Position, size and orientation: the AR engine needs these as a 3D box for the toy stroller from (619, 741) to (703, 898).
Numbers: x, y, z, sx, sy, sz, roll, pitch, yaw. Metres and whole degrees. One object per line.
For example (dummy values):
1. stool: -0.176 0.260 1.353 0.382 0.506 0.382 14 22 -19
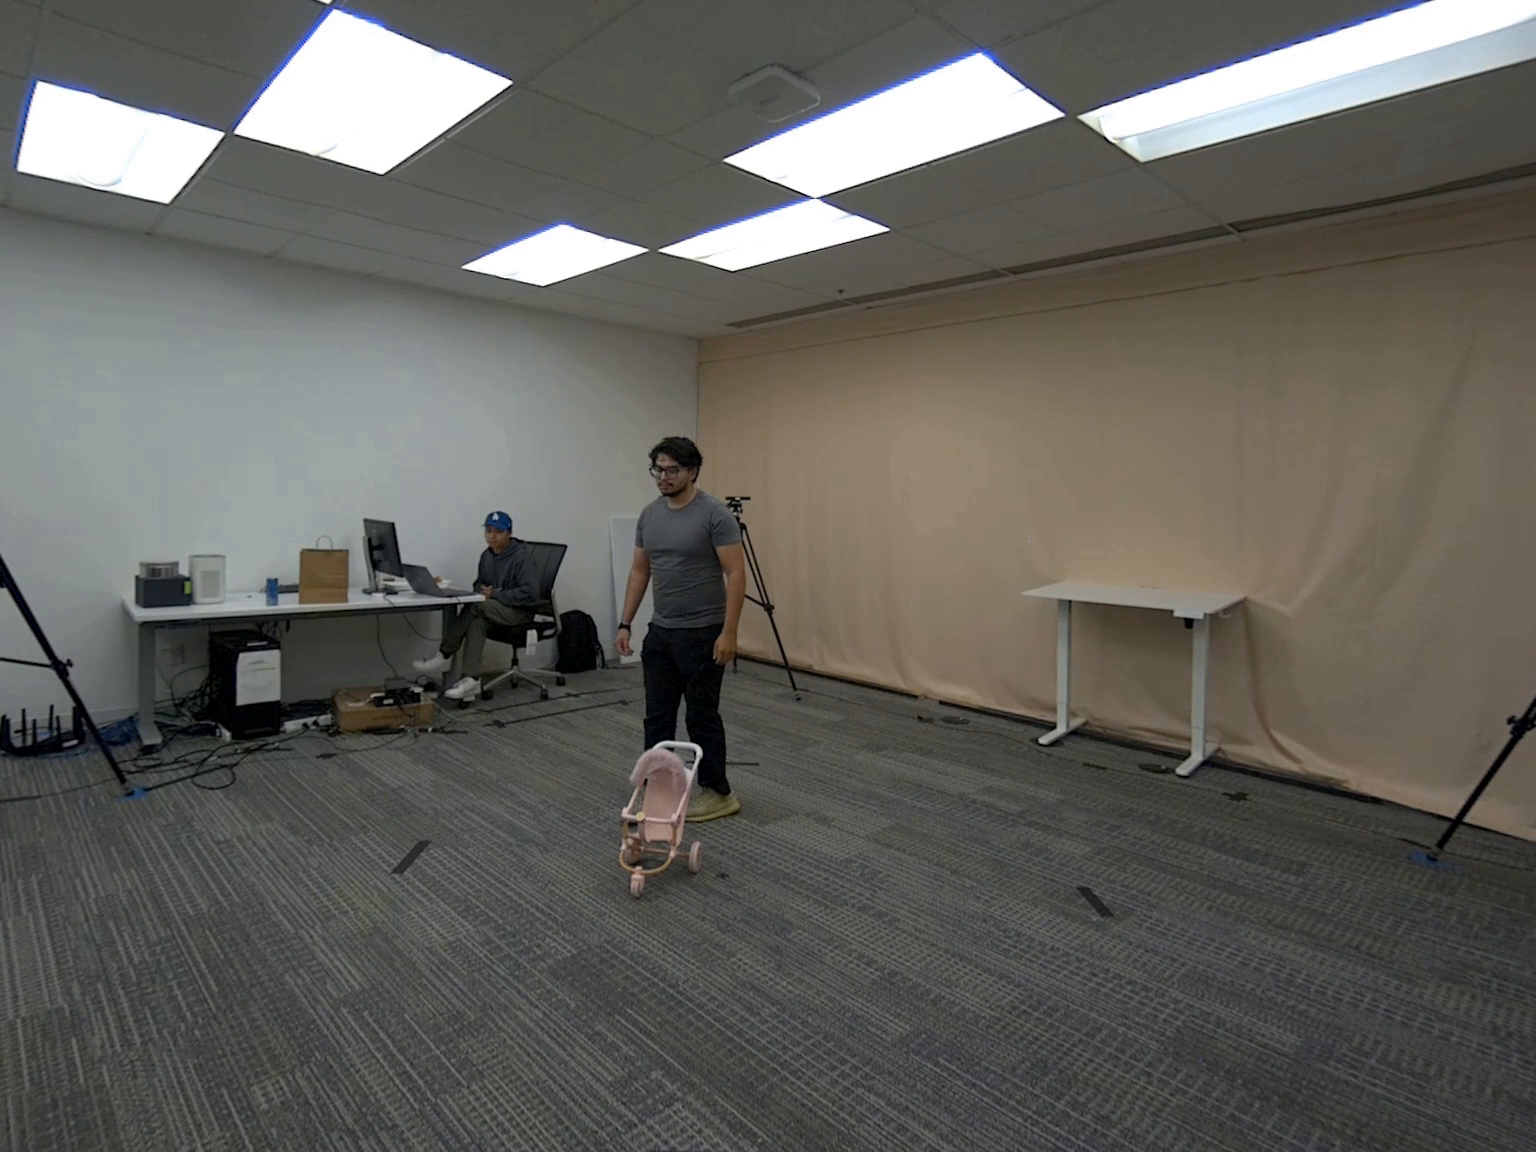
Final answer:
1. toy stroller: -0.416 0.882 3.096 0.286 0.539 0.333 2 -12 19
